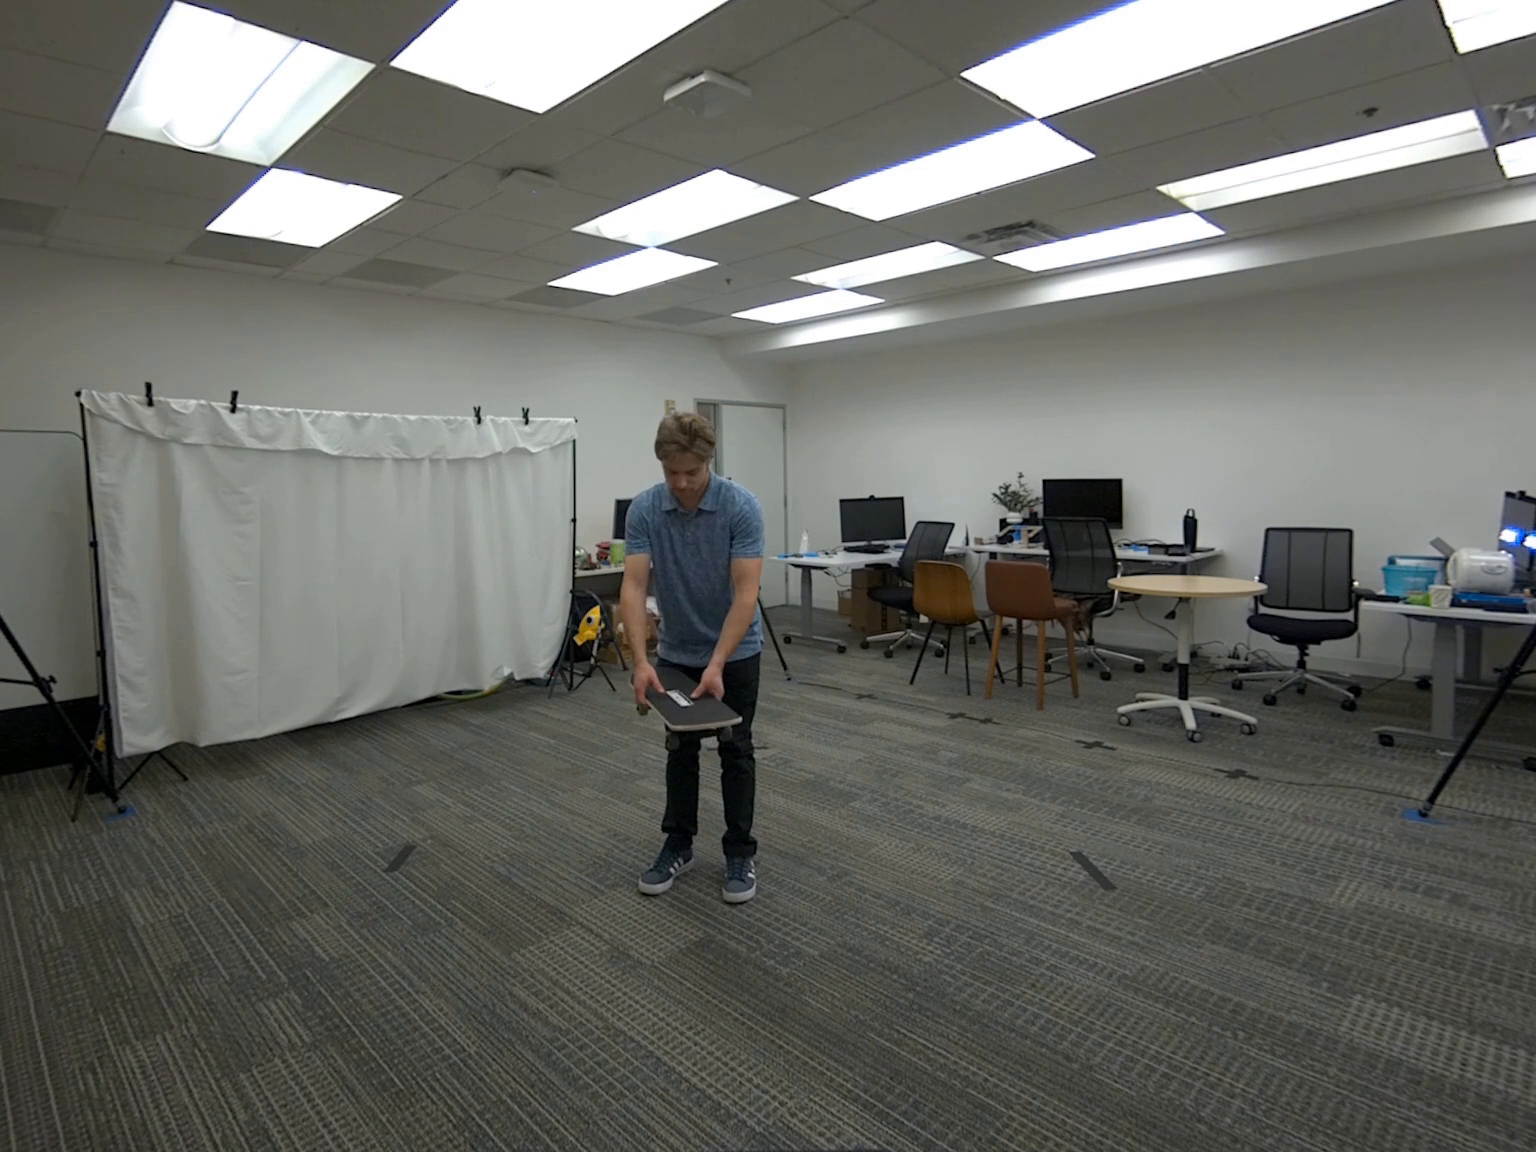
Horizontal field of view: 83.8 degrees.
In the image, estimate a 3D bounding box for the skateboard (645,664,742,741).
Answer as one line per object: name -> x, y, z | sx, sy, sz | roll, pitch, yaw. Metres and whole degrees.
skateboard -> -0.271, 0.412, 2.565 | 0.191, 0.110, 0.800 | -7, 7, -18
